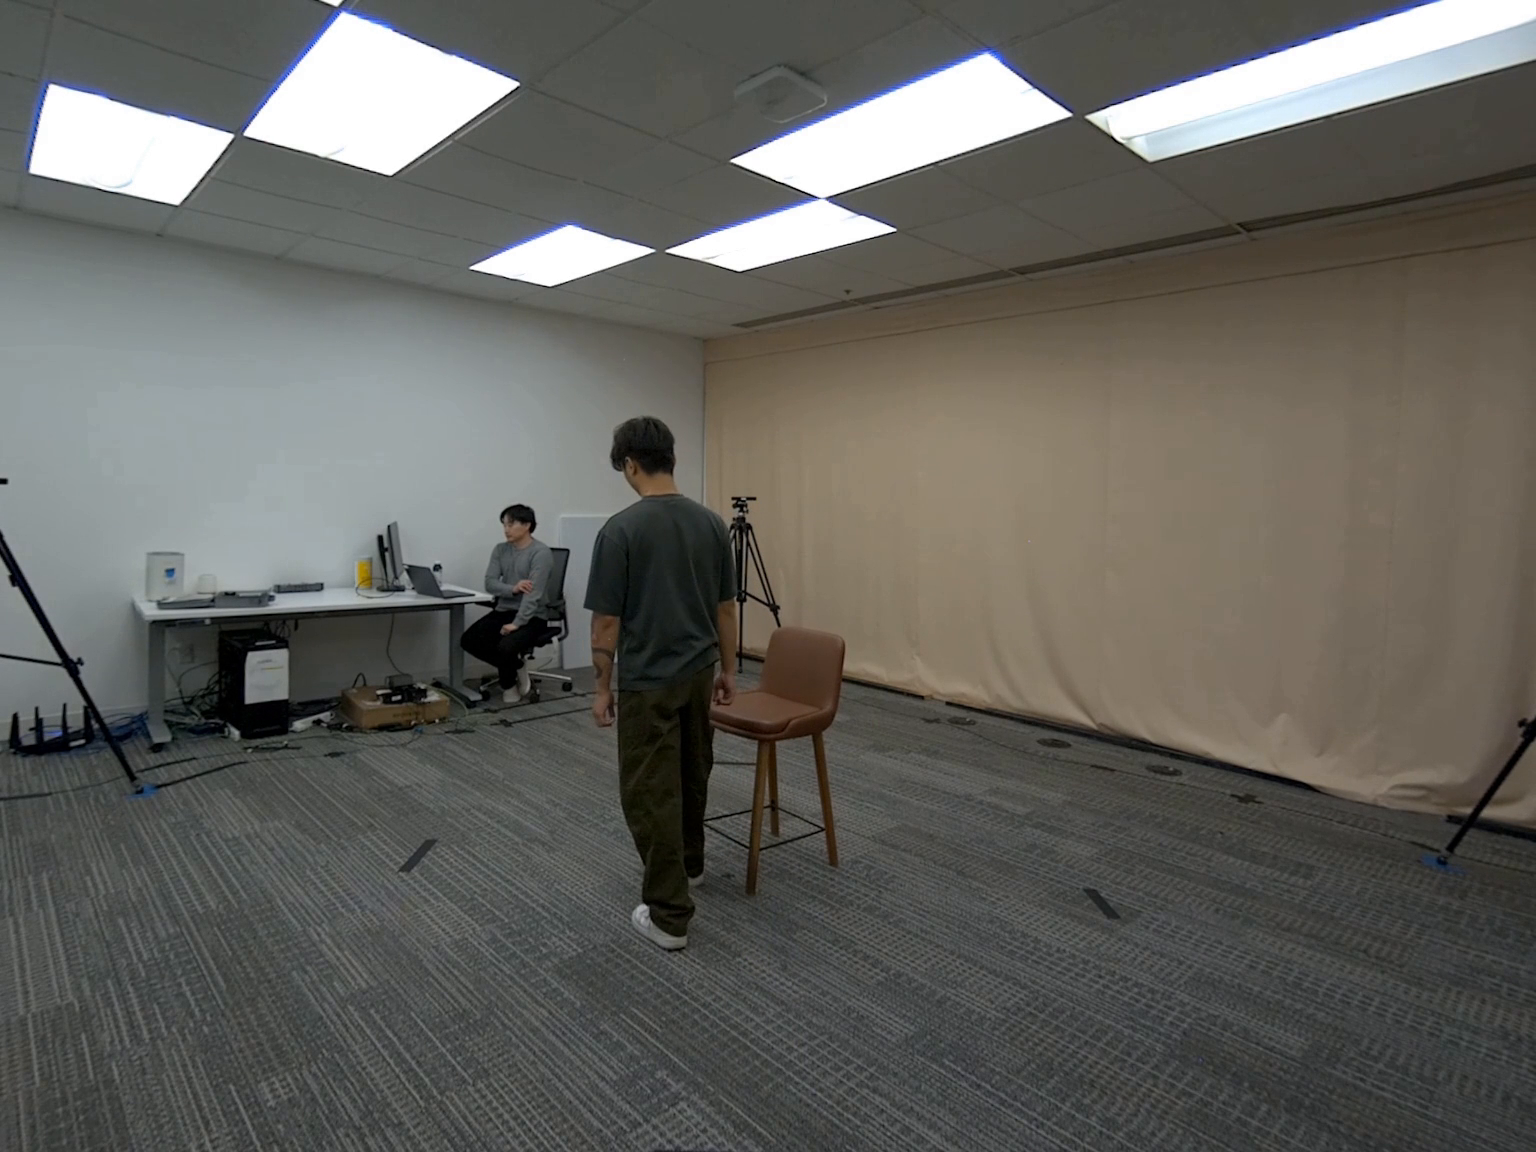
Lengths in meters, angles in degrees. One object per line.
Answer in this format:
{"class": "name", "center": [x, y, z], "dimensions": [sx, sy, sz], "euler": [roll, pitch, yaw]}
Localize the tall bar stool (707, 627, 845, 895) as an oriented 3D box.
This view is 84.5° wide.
{"class": "tall bar stool", "center": [-0.008, 0.662, 3.214], "dimensions": [0.456, 0.889, 0.468], "euler": [2, 2, -39]}
